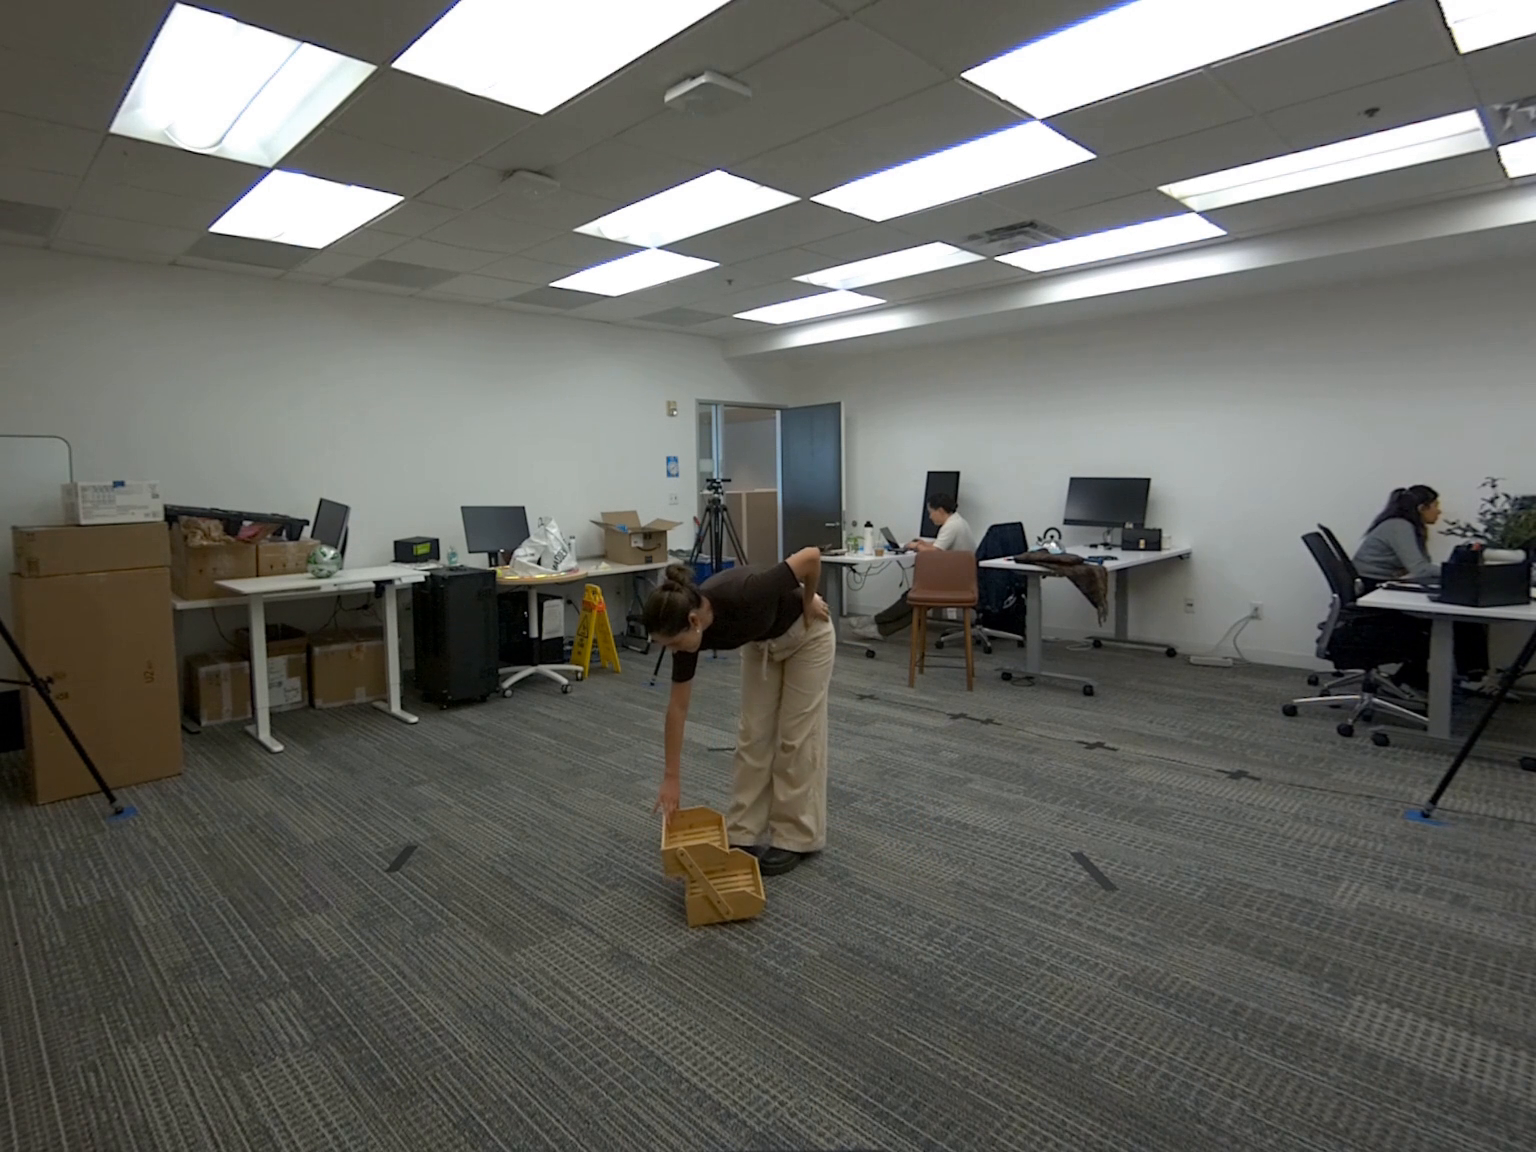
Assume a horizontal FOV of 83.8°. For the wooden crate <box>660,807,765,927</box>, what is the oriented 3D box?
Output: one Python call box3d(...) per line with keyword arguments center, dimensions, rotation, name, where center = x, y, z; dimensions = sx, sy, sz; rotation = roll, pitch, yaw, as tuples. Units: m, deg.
box3d(center=(-0.181, 0.937, 2.813), dimensions=(0.301, 0.272, 0.327), rotation=(-8, 6, -3), name="wooden crate")
